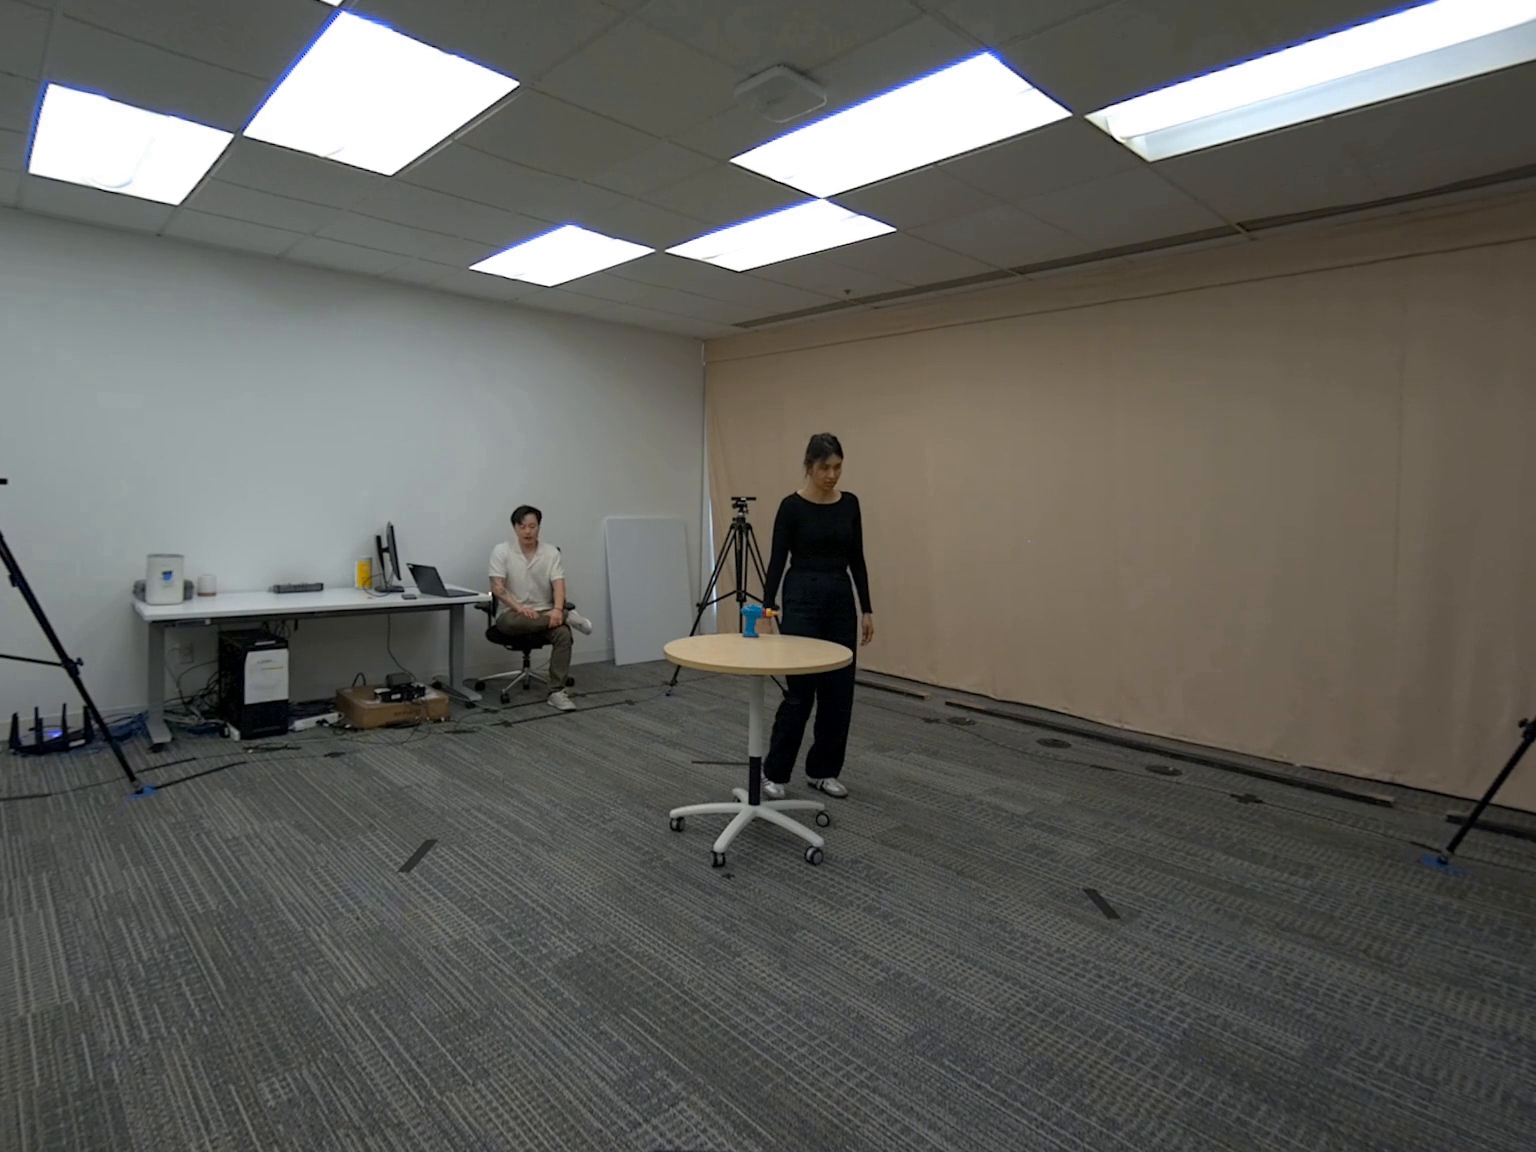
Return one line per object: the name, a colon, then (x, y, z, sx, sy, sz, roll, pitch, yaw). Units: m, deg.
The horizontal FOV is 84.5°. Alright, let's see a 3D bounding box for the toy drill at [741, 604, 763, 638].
toy drill: (-0.046, 0.200, 3.726, 0.171, 0.146, 0.061, 2, 2, 6)
